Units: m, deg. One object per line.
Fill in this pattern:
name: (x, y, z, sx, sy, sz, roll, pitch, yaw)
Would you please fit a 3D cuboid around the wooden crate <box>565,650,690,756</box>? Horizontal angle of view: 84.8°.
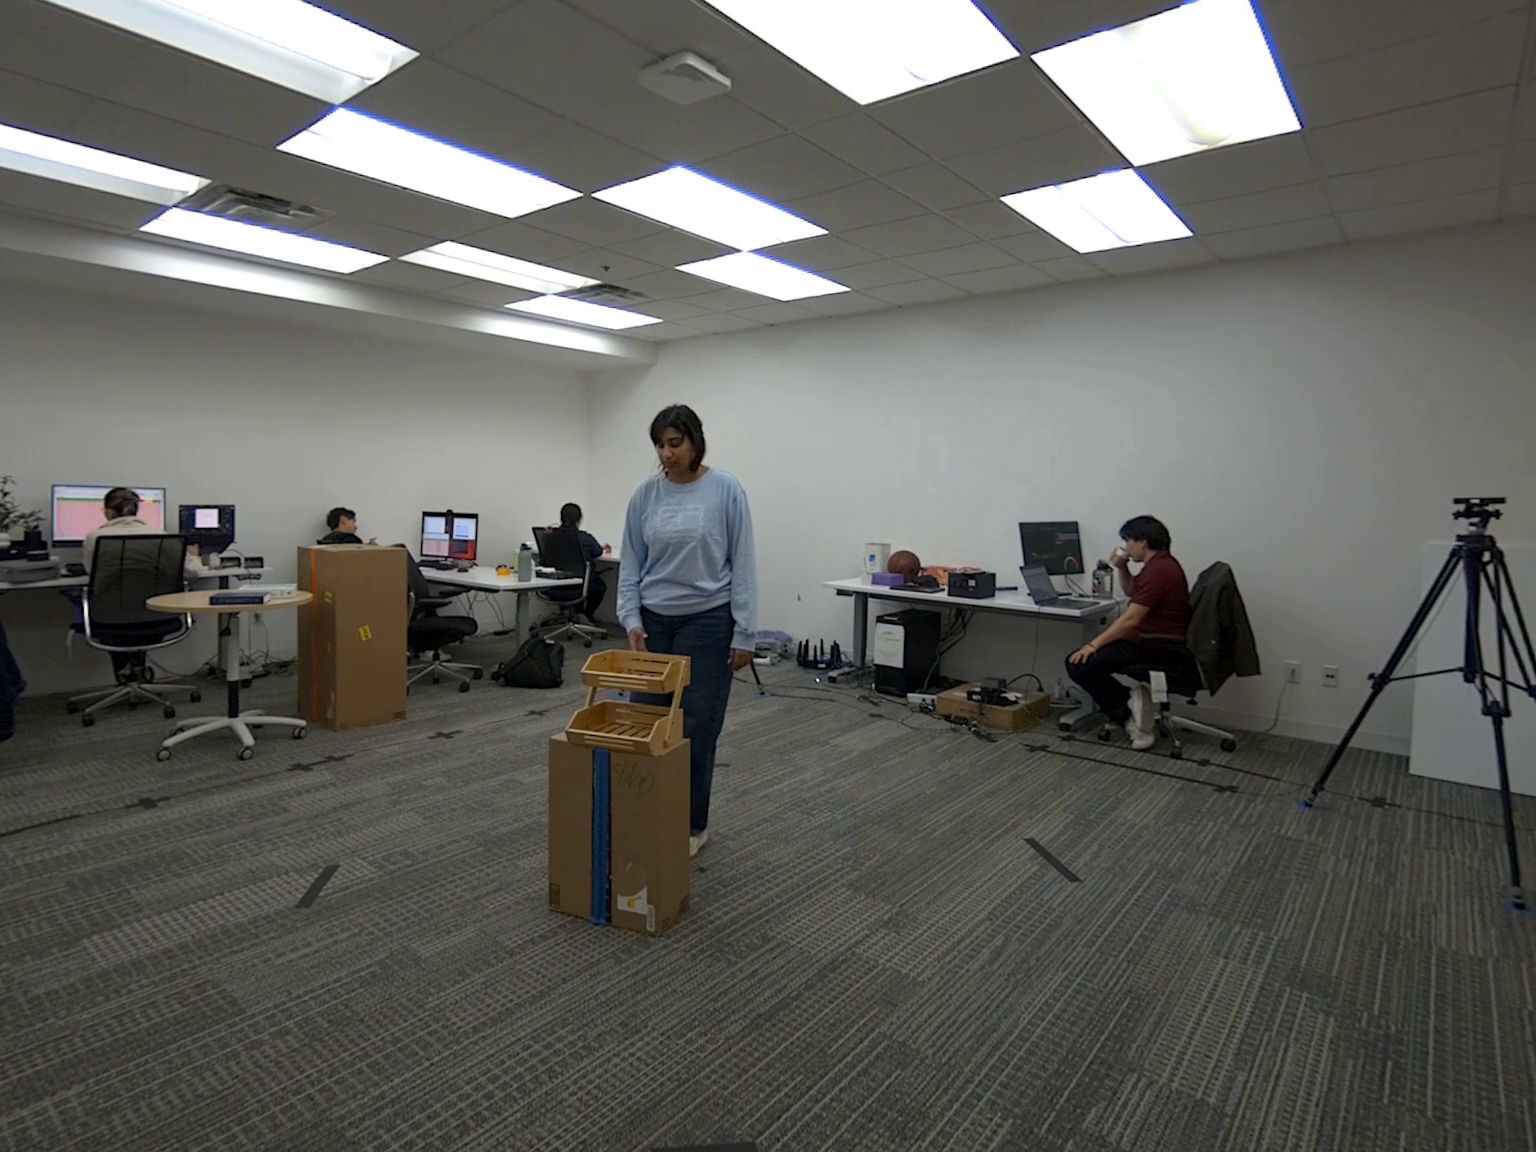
wooden crate: (-0.466, 0.397, 2.787, 0.332, 0.273, 0.296, 3, 3, 21)
